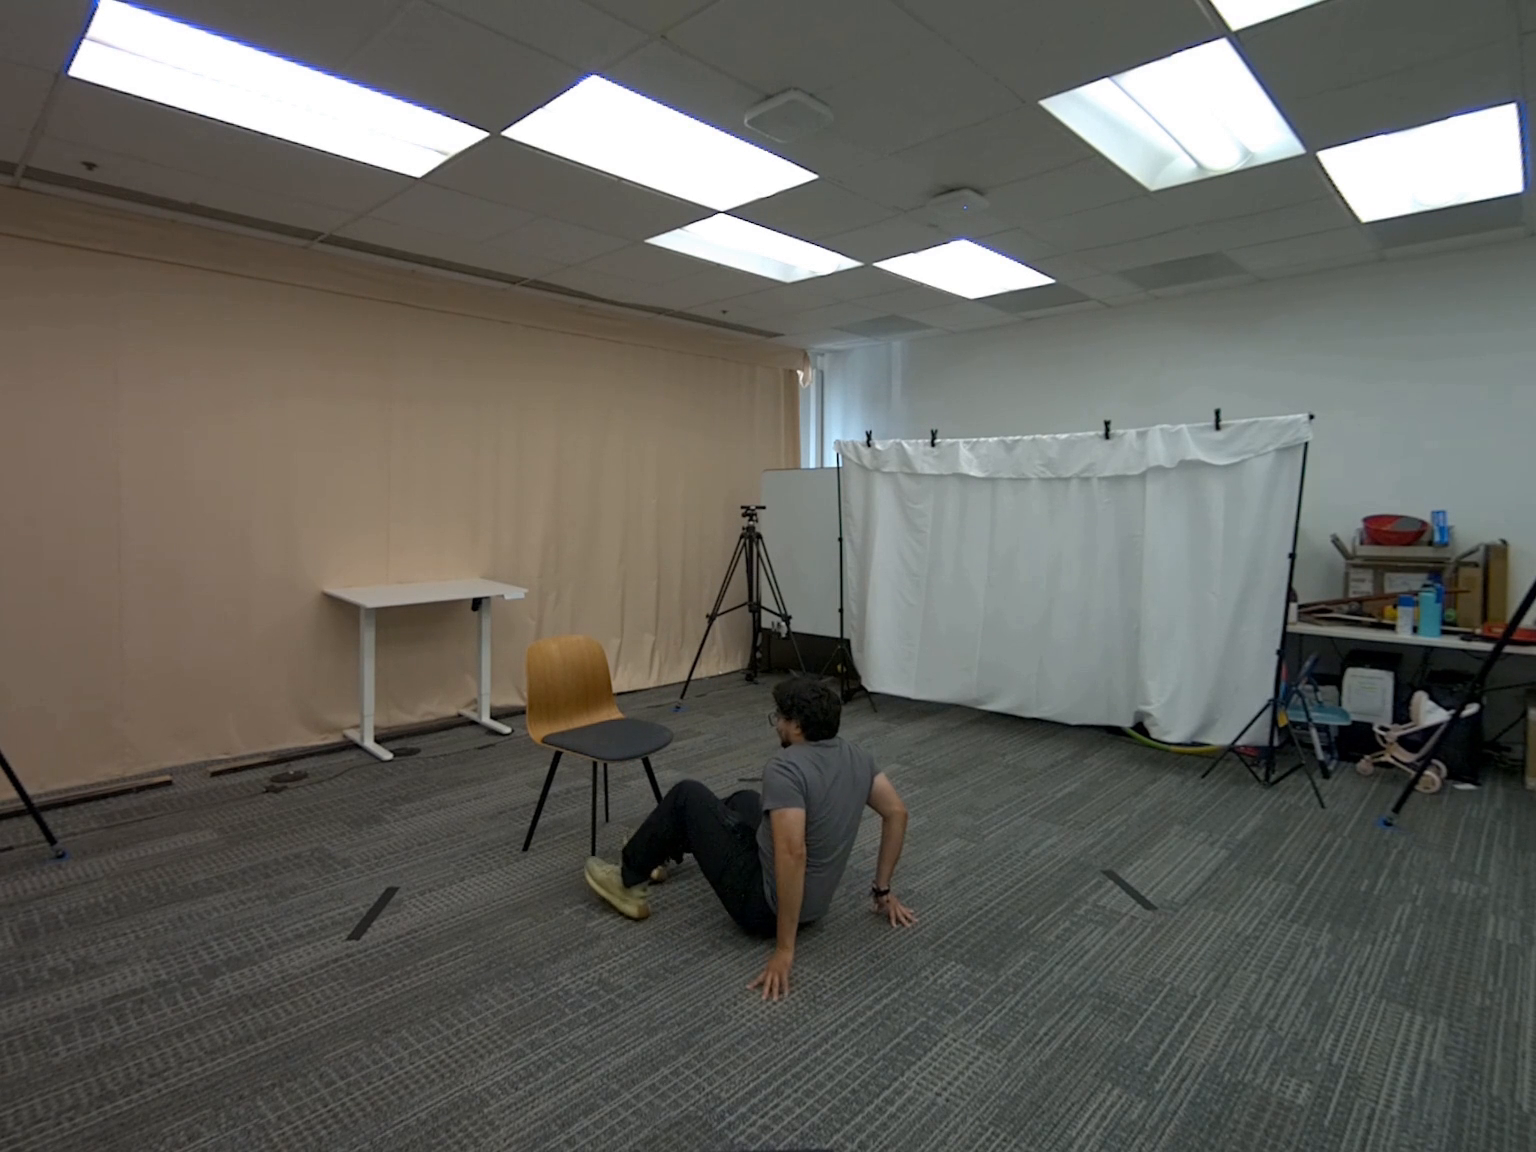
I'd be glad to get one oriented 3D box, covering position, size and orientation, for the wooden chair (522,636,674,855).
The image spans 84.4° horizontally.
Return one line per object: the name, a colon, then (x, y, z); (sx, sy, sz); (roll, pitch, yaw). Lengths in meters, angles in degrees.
wooden chair: (-0.678, 0.688, 3.395); (0.539, 0.877, 0.463); (-4, 0, 42)
